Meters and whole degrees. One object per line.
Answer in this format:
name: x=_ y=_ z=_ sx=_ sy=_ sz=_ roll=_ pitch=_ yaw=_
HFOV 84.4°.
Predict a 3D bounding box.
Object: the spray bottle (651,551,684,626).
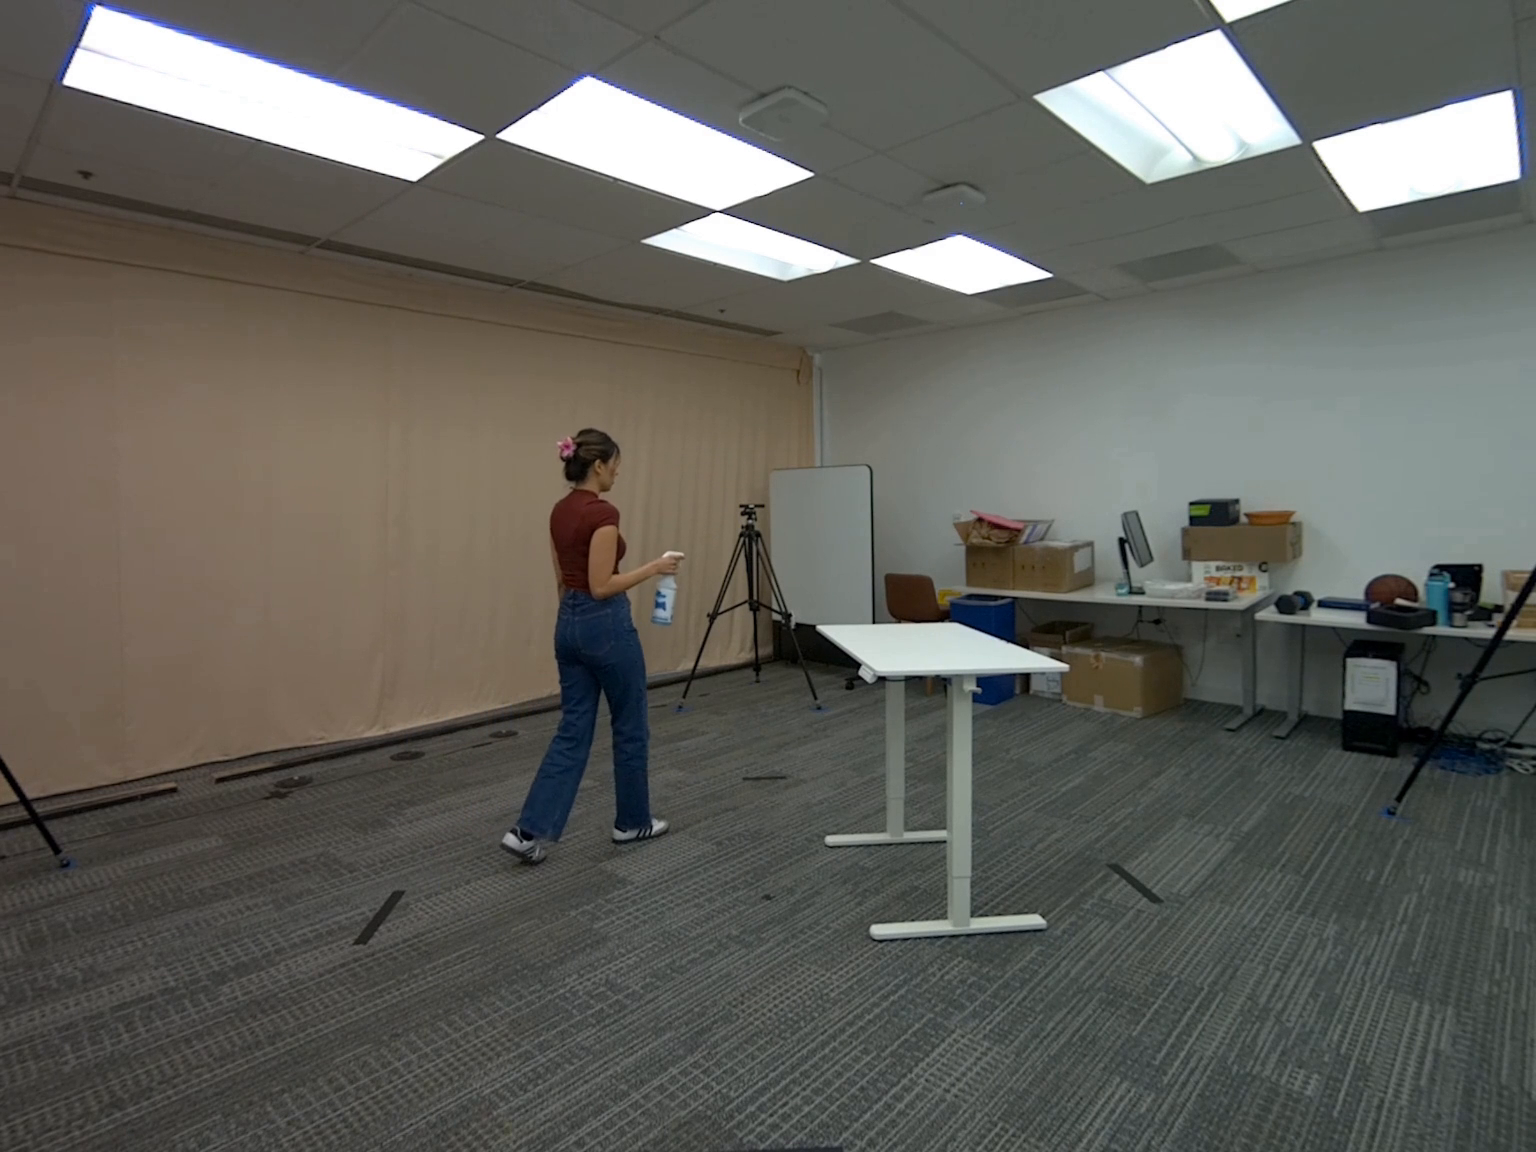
spray bottle: x=-0.413 y=0.049 z=3.400 sx=0.089 sy=0.297 sz=0.088 roll=10 pitch=0 yaw=-8
